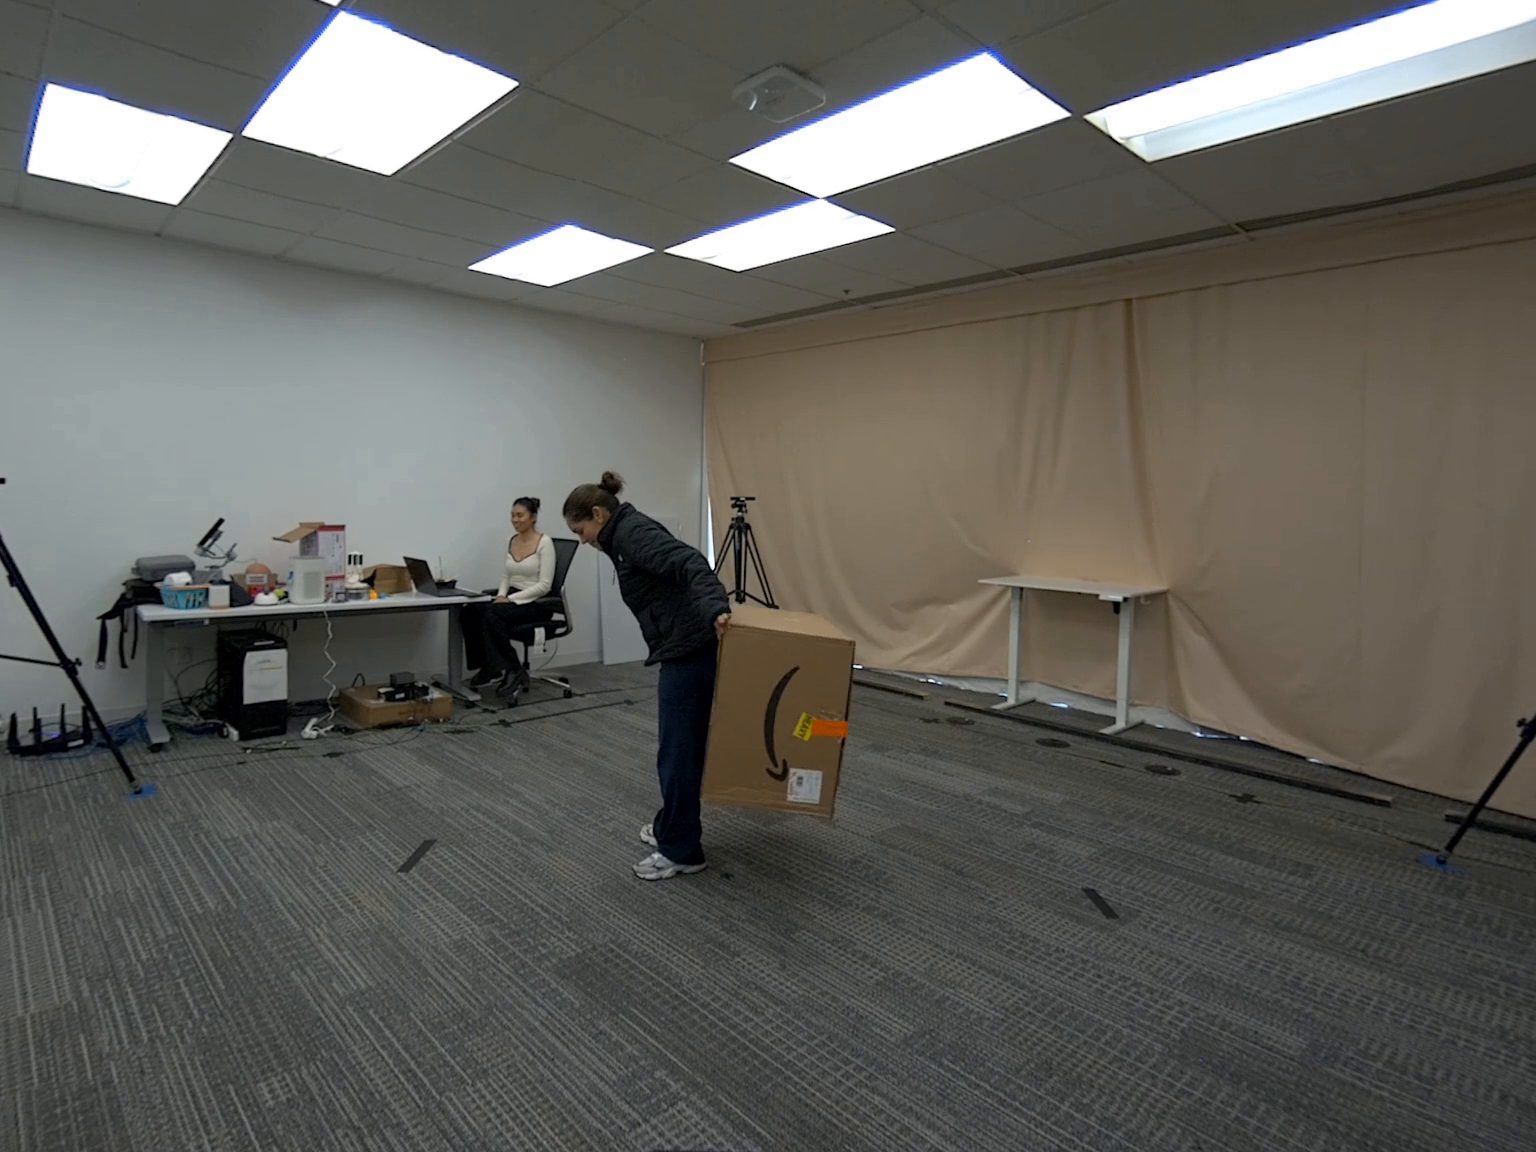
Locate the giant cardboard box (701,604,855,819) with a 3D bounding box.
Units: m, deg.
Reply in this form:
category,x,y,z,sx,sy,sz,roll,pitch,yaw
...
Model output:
category,x,y,z,sx,sy,sz,roll,pitch,yaw
giant cardboard box,0.009,0.444,3.153,0.425,0.577,1.028,6,1,-3
